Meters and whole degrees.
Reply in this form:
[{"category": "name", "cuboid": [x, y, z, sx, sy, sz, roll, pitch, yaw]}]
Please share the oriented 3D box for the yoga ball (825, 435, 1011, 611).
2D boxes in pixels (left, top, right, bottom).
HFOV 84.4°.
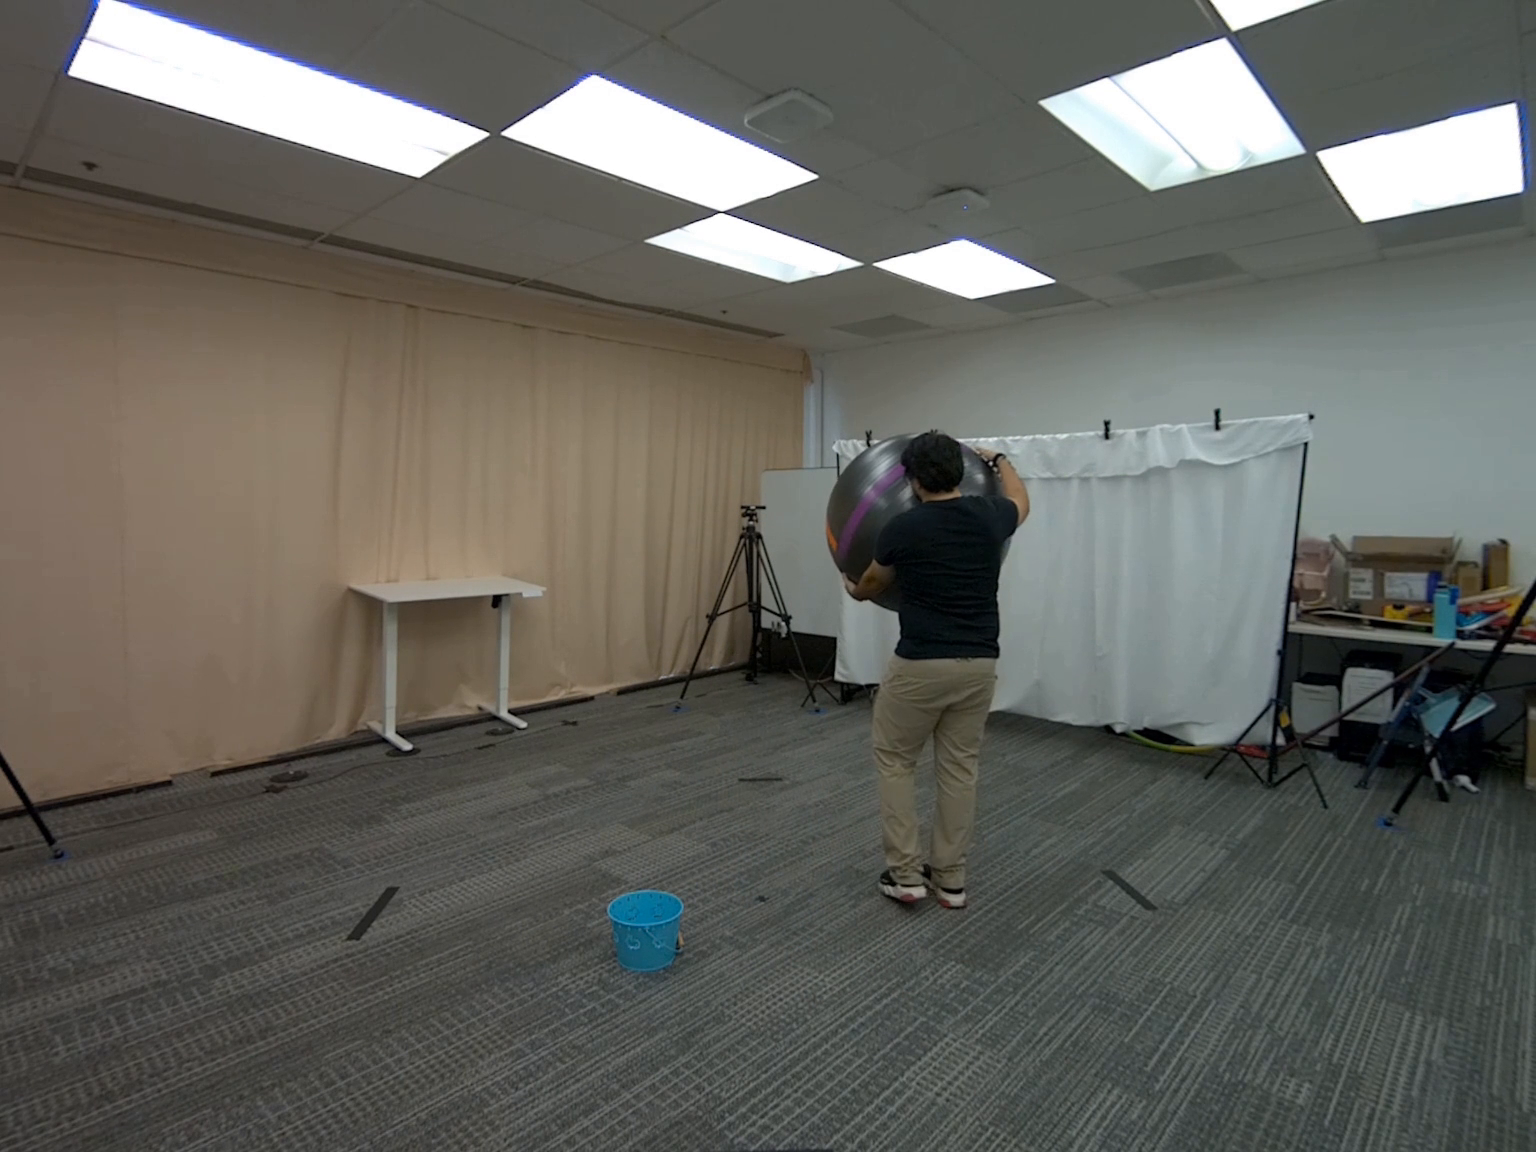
[{"category": "yoga ball", "cuboid": [0.627, -0.212, 3.528, 0.757, 0.756, 0.760, 0, 4, -2]}]
